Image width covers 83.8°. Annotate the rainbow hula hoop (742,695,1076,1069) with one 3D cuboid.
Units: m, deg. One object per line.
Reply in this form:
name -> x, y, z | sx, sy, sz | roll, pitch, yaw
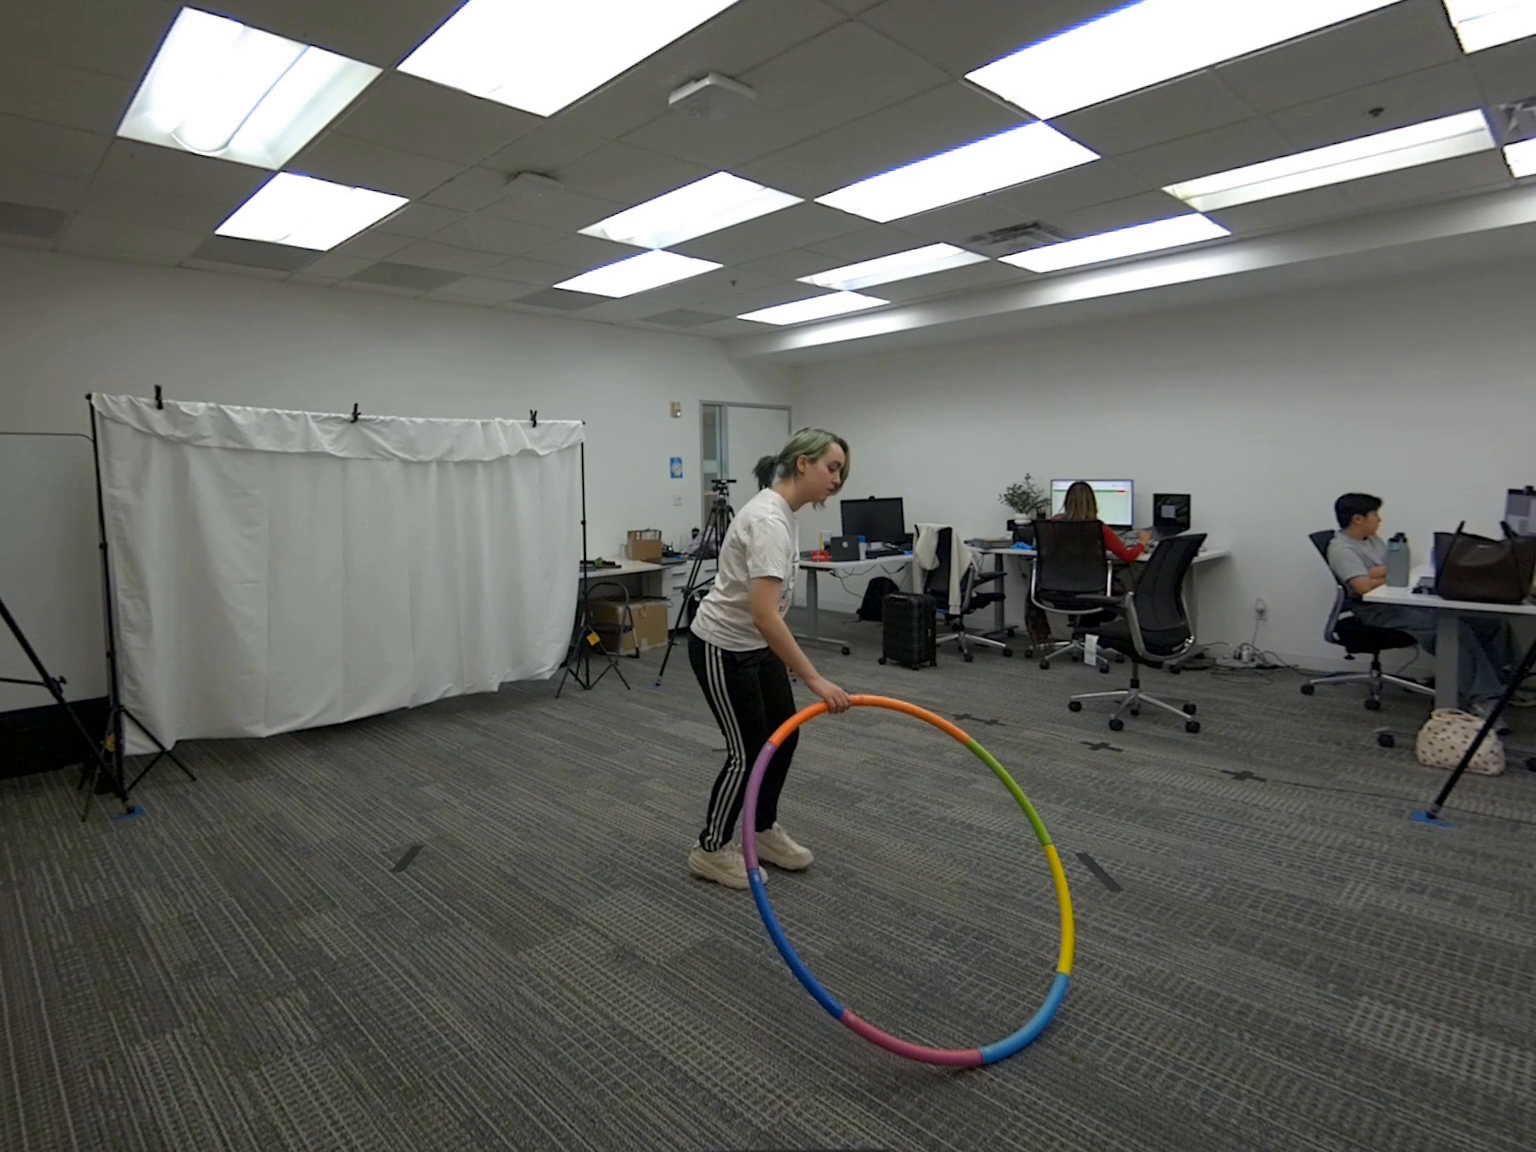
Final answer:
rainbow hula hoop -> 0.393, 0.759, 2.329 | 0.956, 1.012, 0.035 | -4, -38, -29
